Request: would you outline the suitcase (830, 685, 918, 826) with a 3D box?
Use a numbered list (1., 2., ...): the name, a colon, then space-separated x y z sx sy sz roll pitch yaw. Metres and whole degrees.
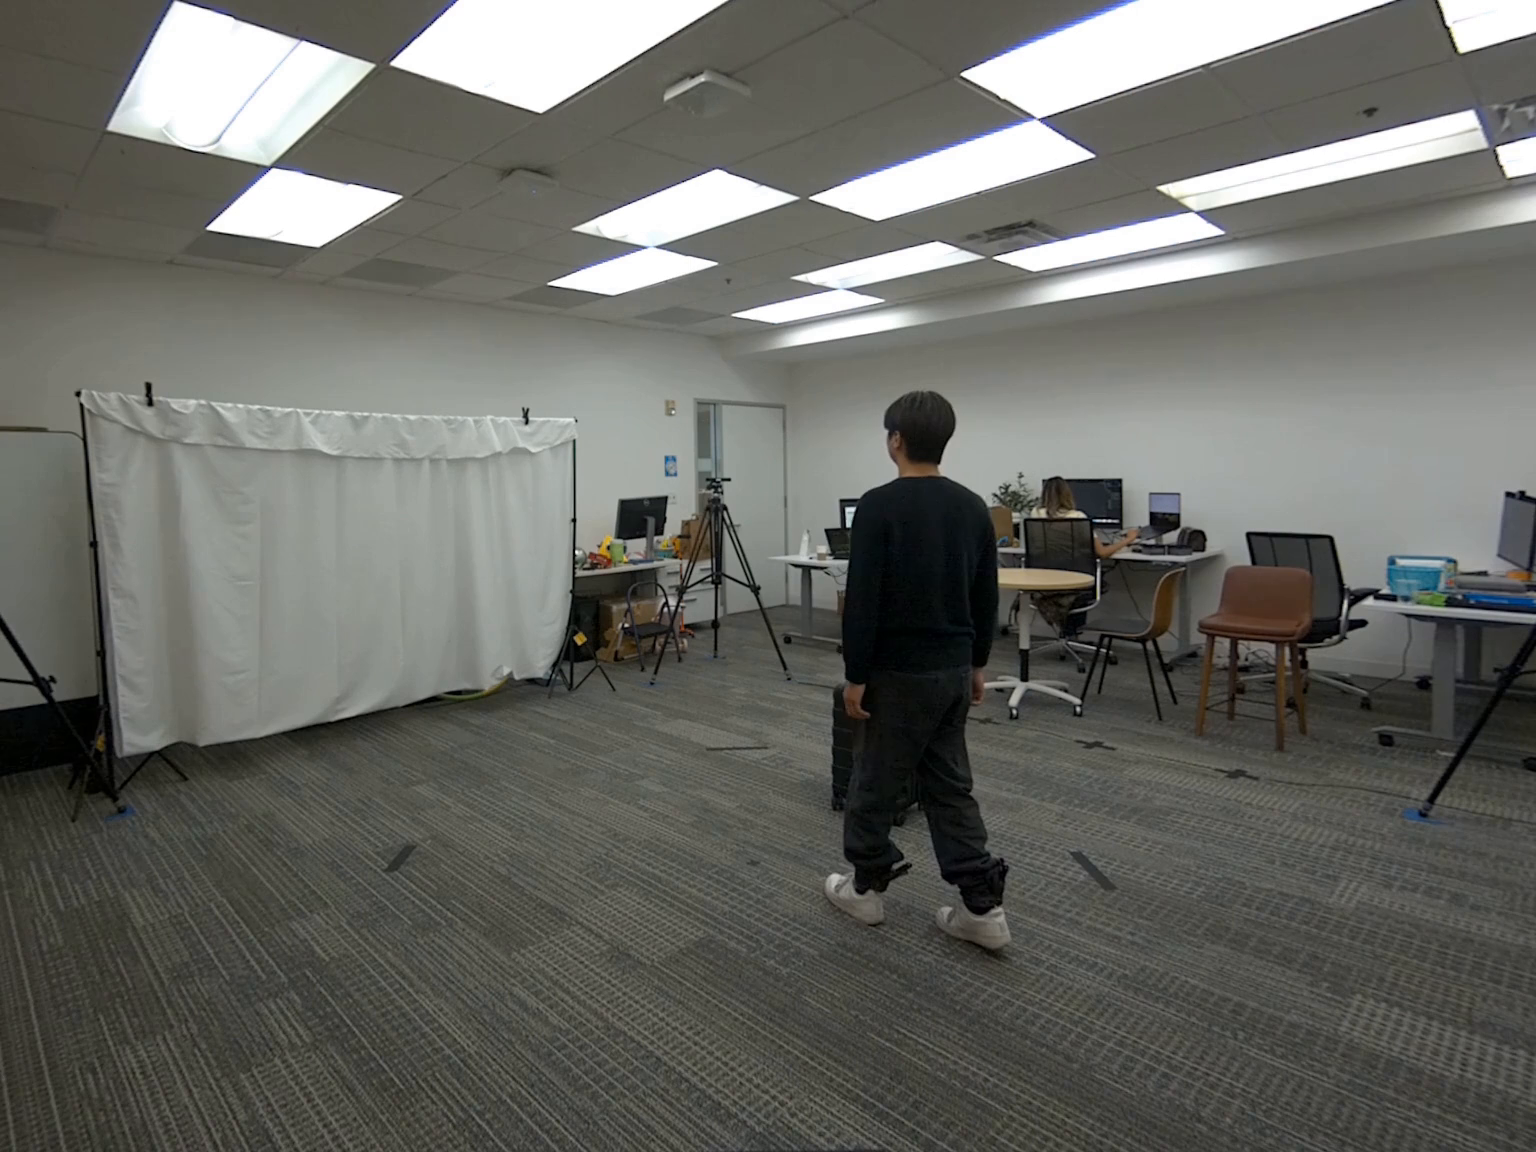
1. suitcase: 0.470 0.707 3.578 0.387 0.547 0.242 3 6 44
